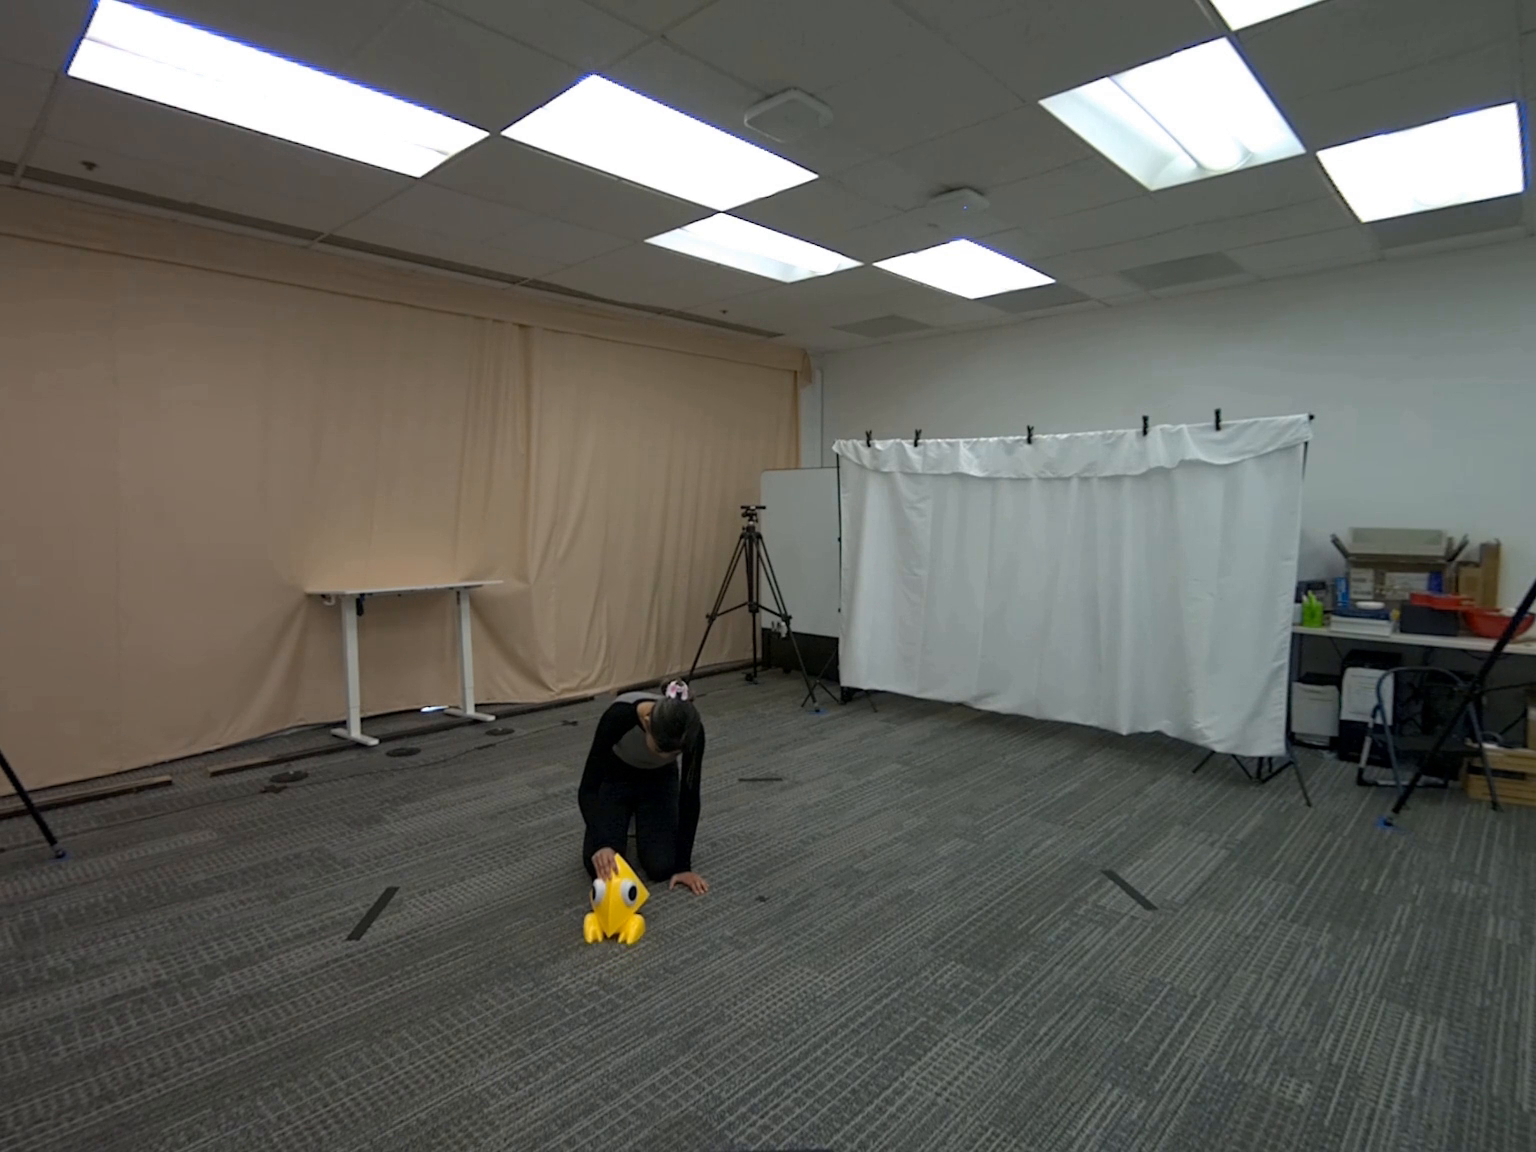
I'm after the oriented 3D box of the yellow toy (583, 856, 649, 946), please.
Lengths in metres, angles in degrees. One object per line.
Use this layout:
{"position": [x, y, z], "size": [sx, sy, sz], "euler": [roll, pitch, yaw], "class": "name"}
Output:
{"position": [-0.504, 1.045, 2.765], "size": [0.206, 0.230, 0.192], "euler": [0, 3, 3], "class": "yellow toy"}
